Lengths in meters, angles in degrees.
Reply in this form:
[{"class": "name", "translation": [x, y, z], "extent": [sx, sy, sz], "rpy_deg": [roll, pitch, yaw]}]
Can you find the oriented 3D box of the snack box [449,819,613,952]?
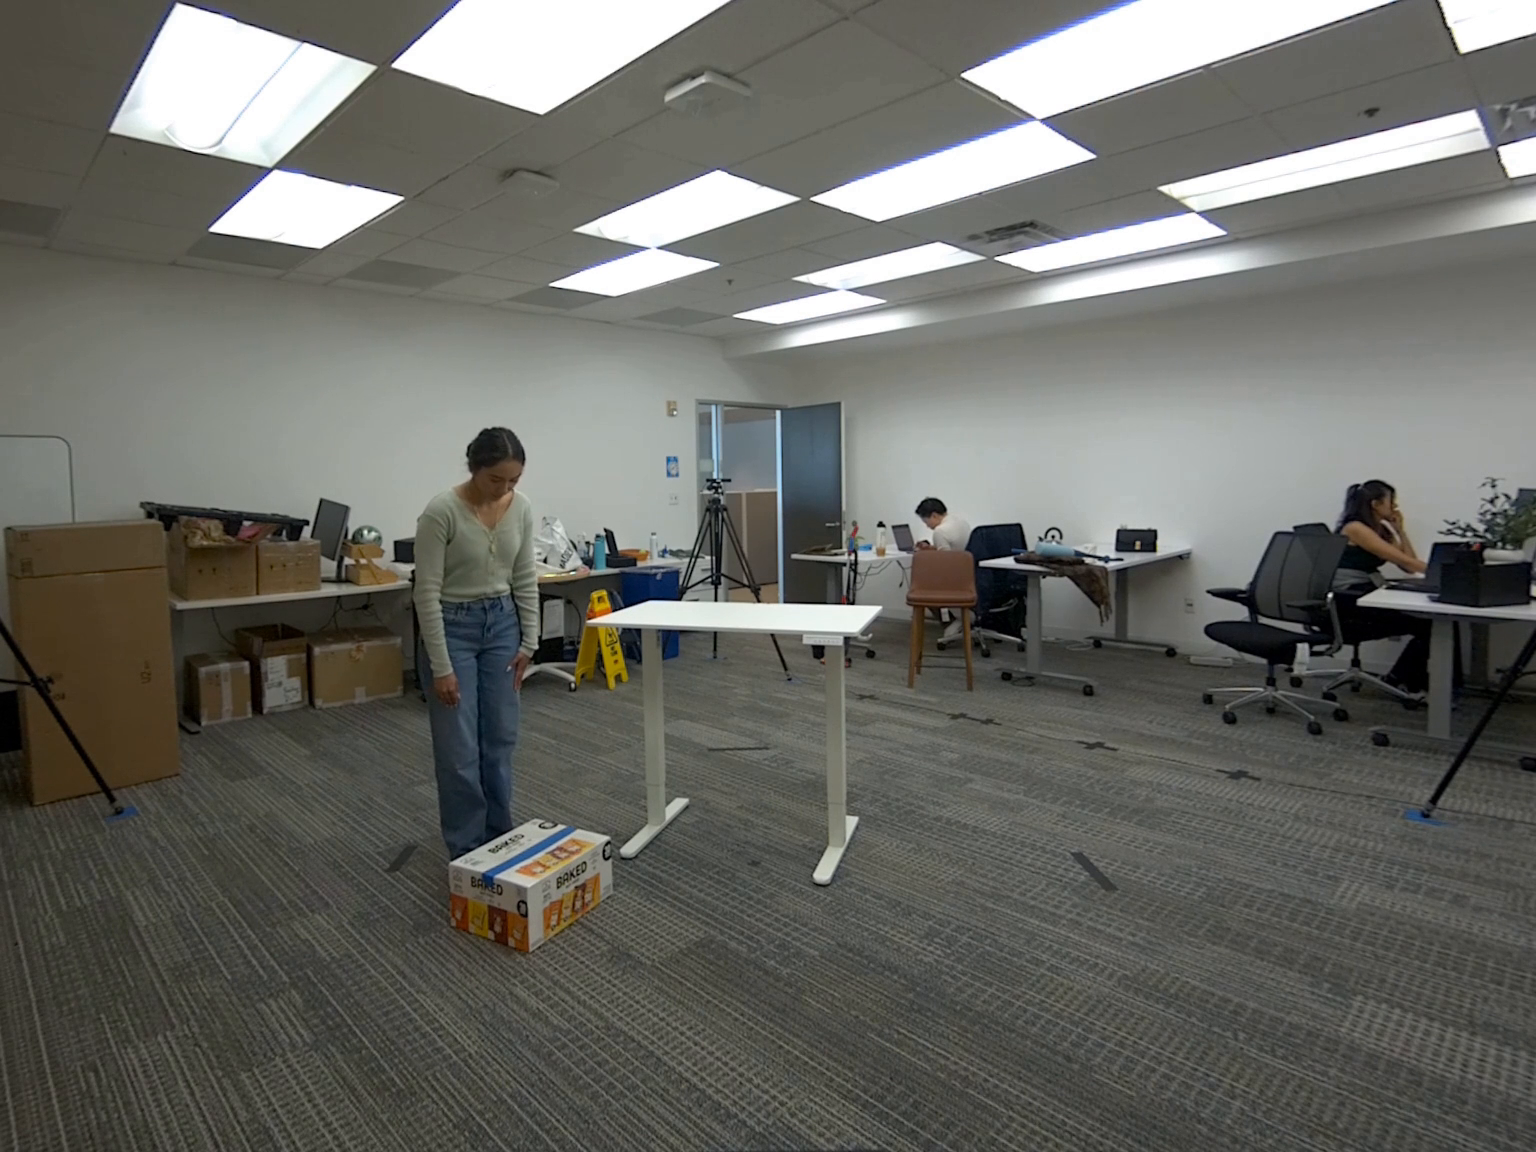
[{"class": "snack box", "translation": [-0.766, 0.994, 2.788], "extent": [0.349, 0.205, 0.397], "rpy_deg": [2, 7, 29]}]
